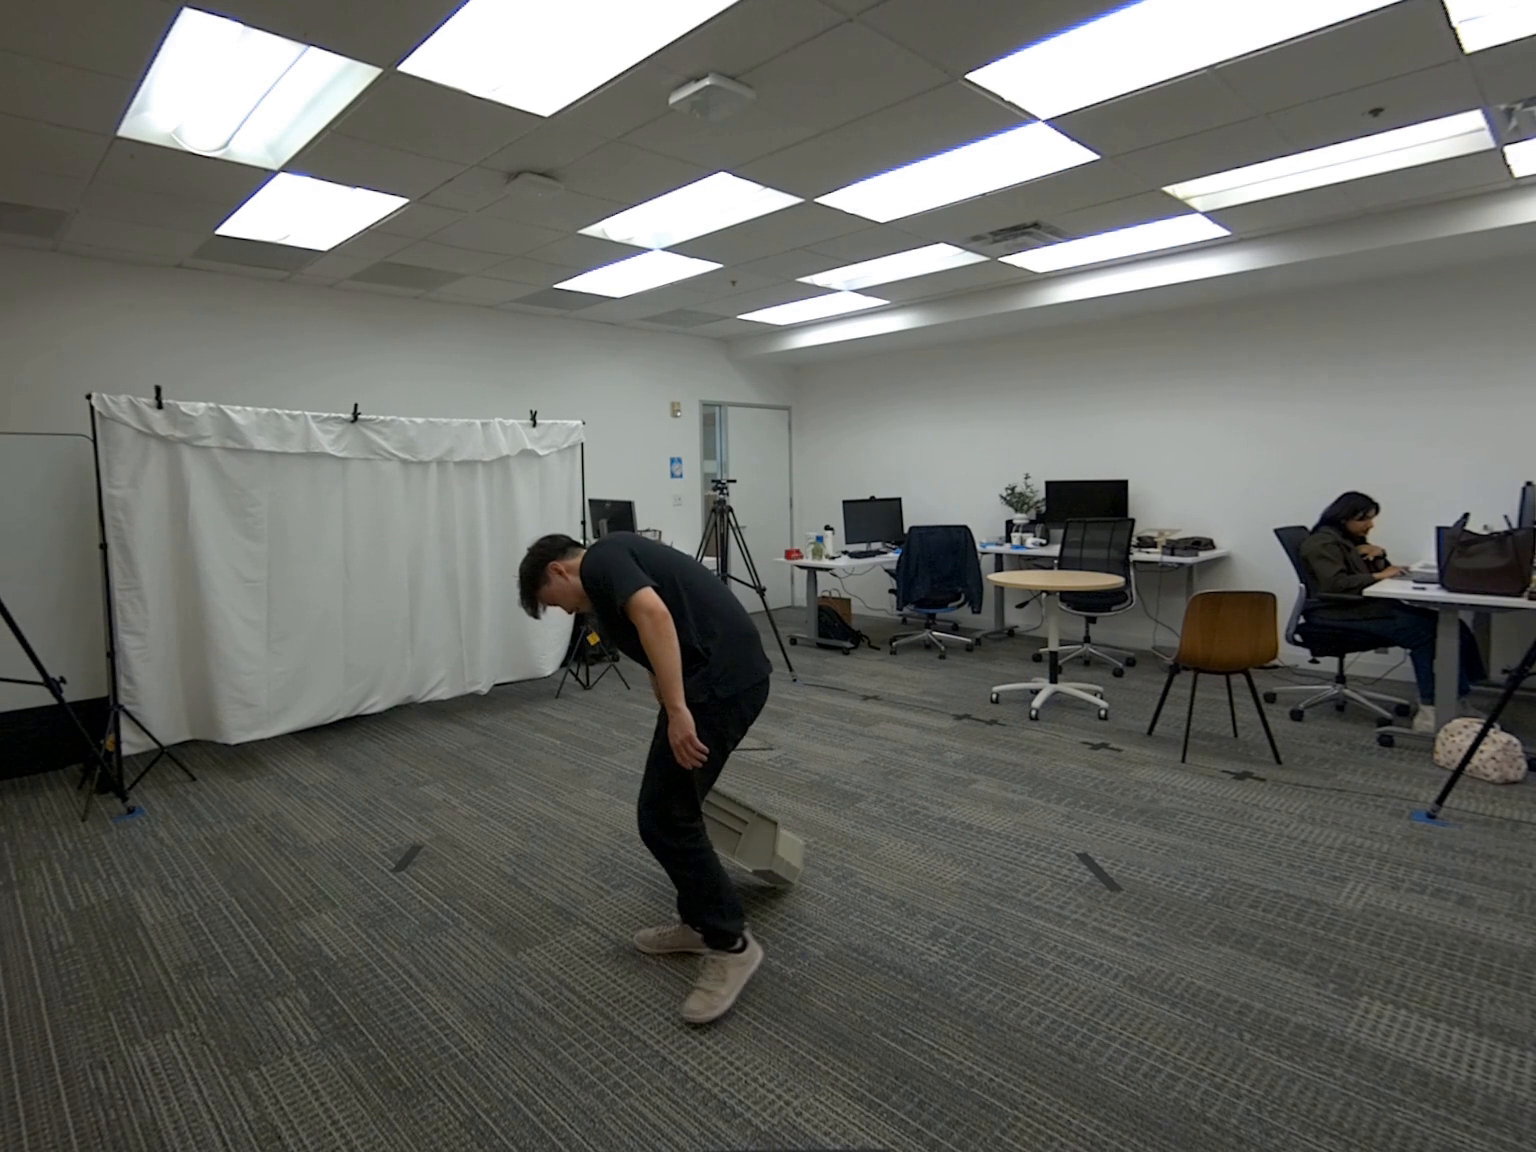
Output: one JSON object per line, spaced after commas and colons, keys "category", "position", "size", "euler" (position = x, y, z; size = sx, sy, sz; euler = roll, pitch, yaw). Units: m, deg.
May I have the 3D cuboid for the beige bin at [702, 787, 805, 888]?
{"category": "beige bin", "position": [-0.087, 0.860, 2.836], "size": [0.388, 0.190, 0.408], "euler": [20, -18, 23]}
